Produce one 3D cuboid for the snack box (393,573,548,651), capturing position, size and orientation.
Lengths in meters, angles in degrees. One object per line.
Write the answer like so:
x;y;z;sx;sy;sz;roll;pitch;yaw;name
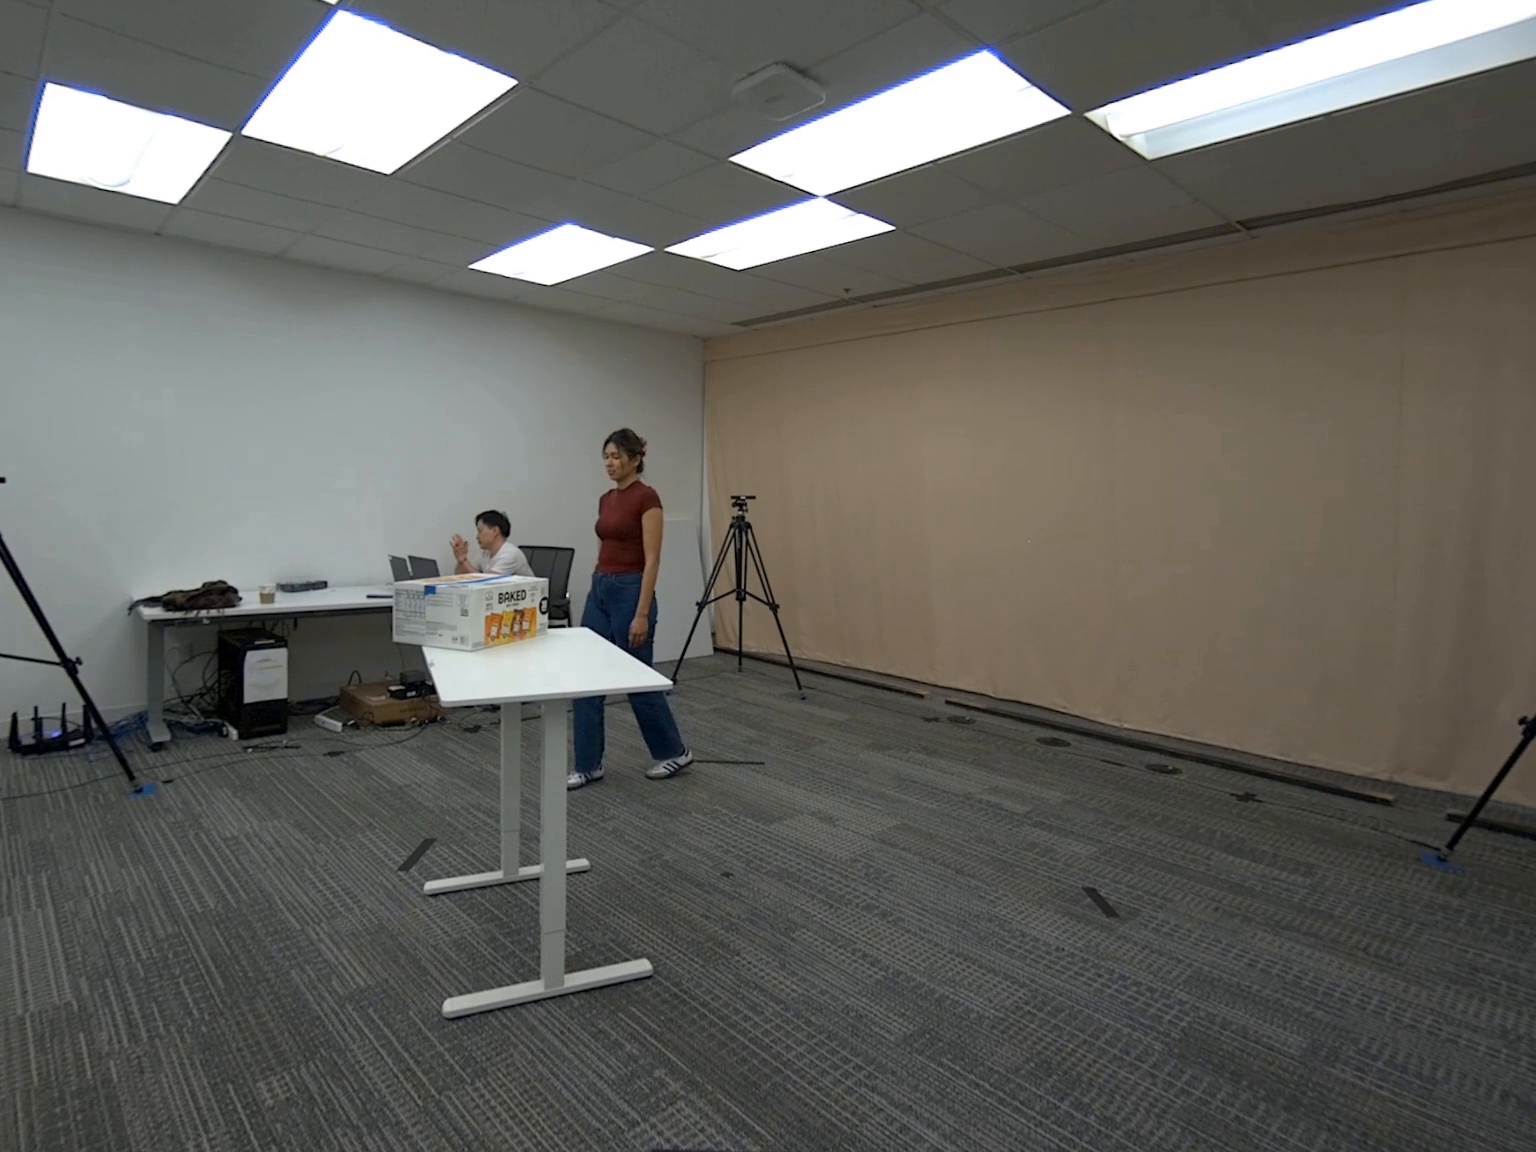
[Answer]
-1.039;0.118;2.922;0.346;0.205;0.399;3;5;22;snack box
